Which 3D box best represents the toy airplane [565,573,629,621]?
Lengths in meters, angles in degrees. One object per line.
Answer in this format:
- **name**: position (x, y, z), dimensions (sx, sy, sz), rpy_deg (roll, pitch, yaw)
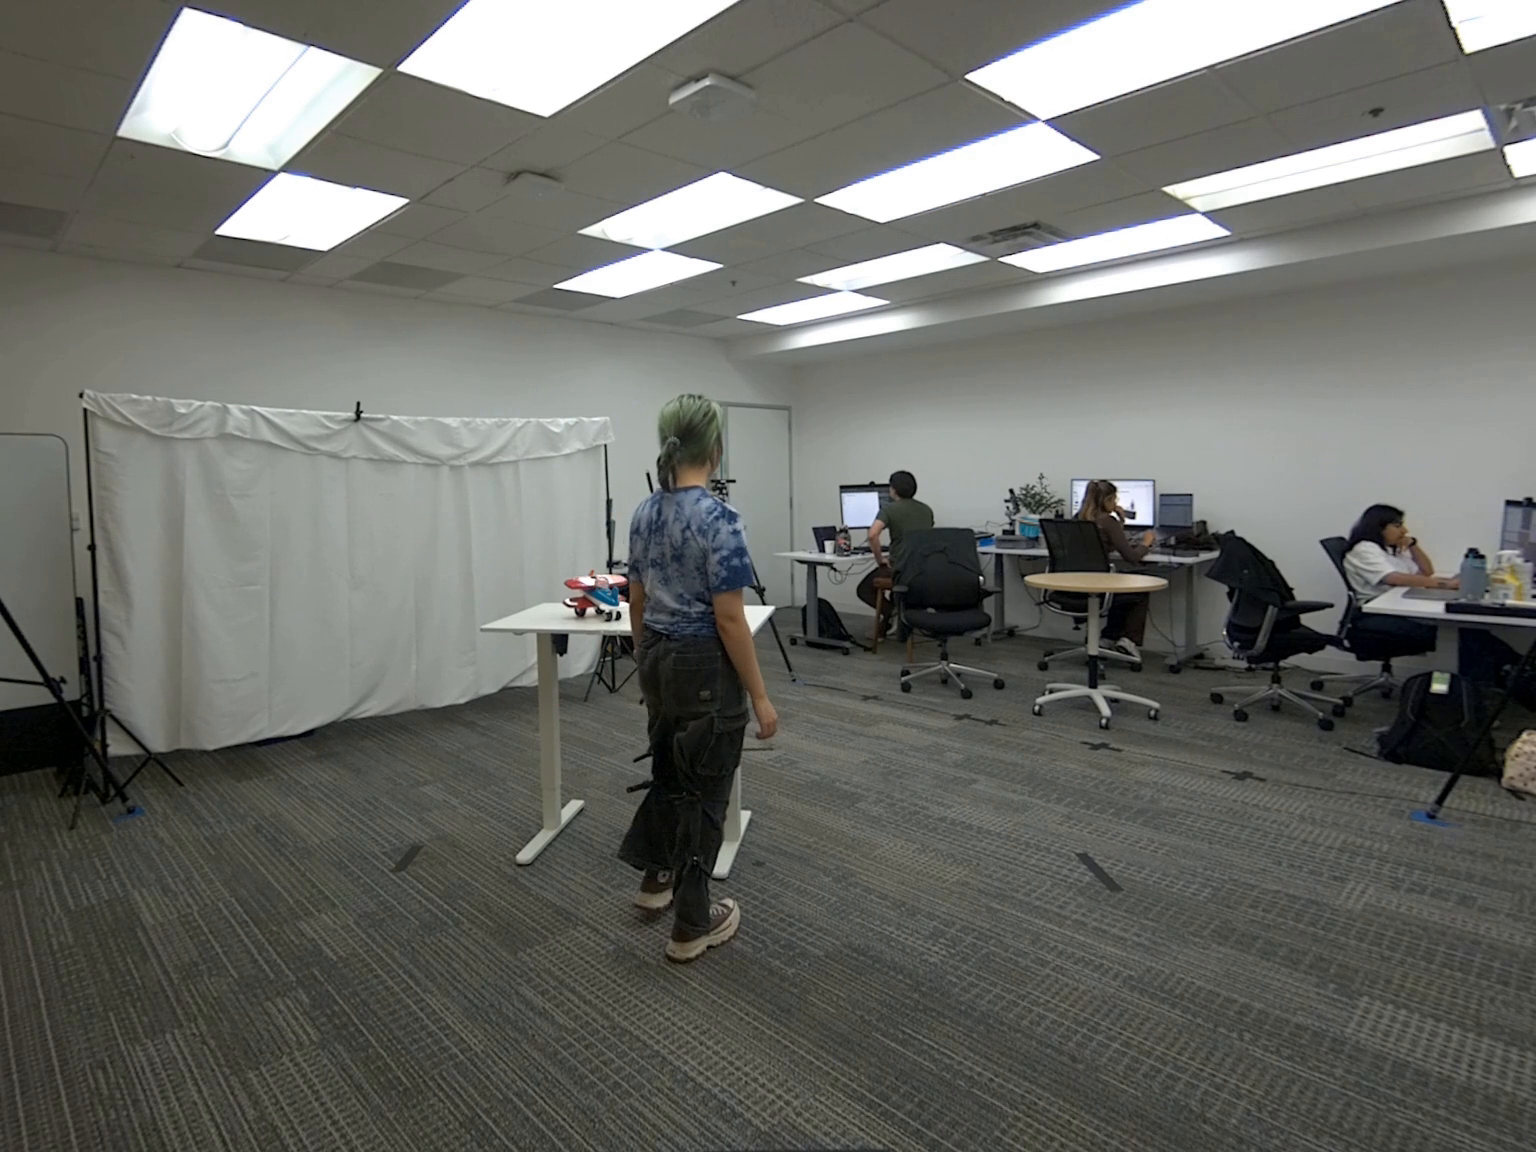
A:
- **toy airplane**: position (-0.633, 0.083, 3.274), dimensions (0.265, 0.155, 0.247), rpy_deg (1, 7, 23)
